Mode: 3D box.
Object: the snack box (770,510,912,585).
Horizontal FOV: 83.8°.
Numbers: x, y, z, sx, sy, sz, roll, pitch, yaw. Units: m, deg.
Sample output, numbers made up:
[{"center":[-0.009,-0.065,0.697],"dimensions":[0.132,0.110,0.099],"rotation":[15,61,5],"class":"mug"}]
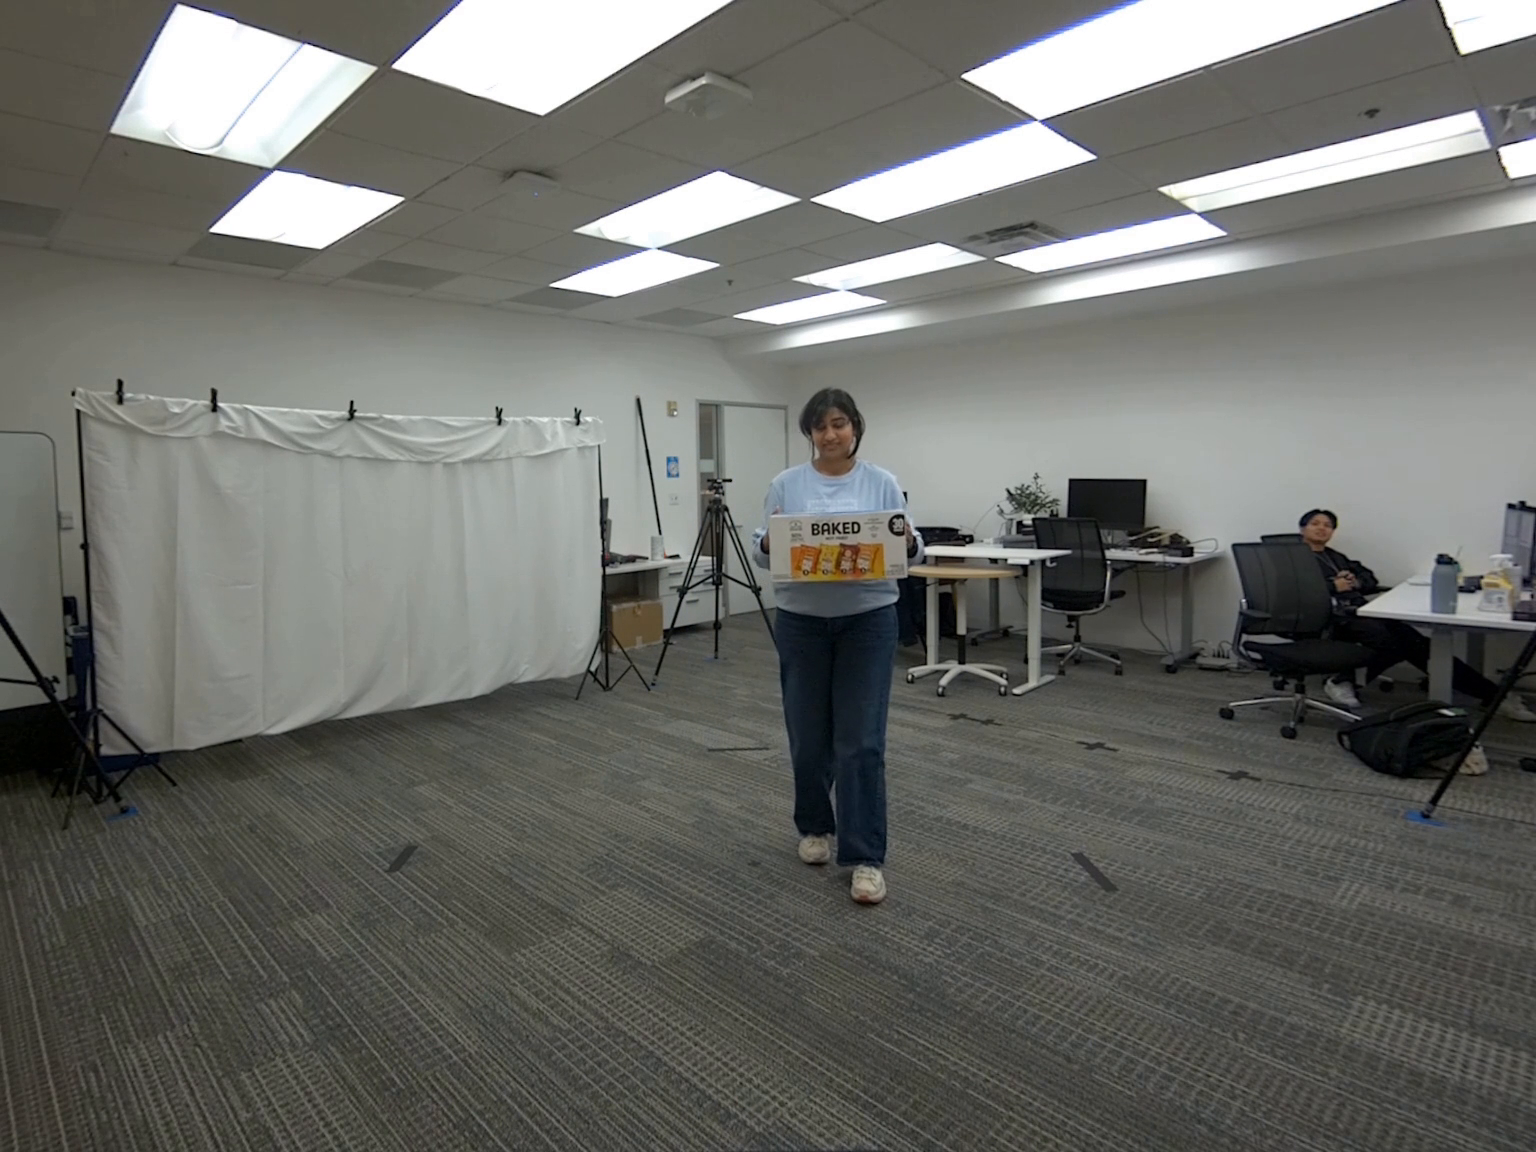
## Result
[{"center":[0.231,-0.100,2.717],"dimensions":[0.408,0.205,0.339],"rotation":[-3,4,8],"class":"snack box"}]
